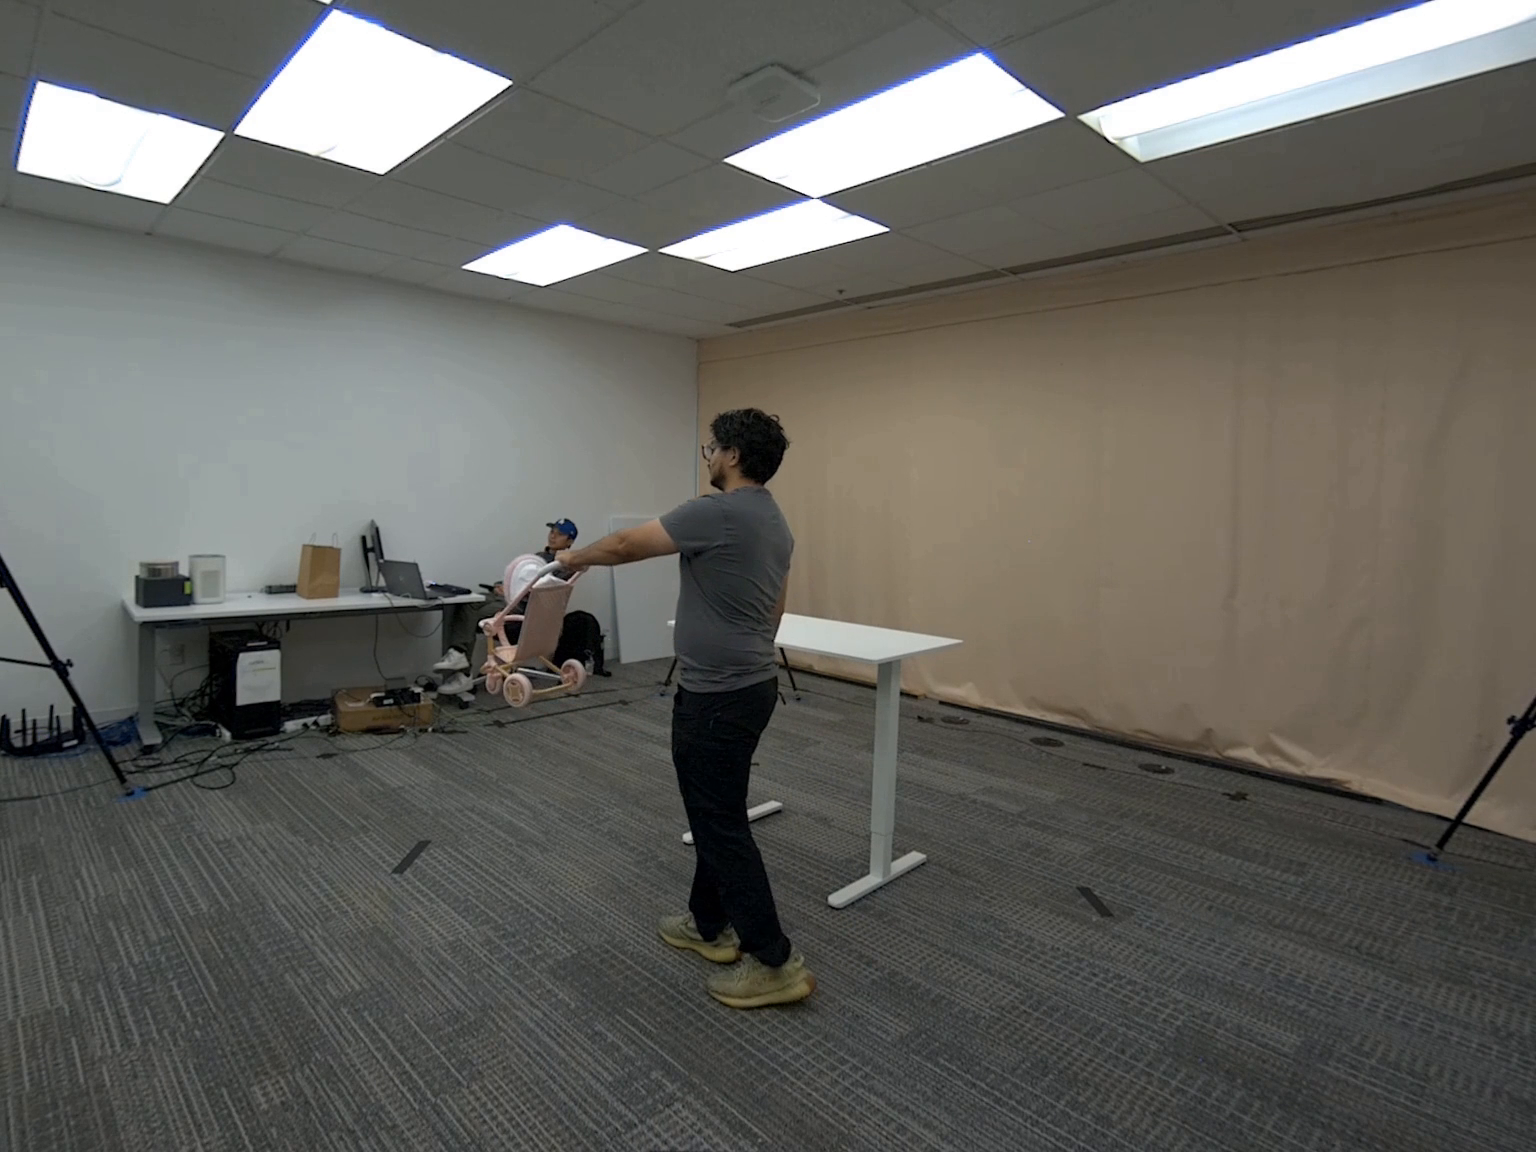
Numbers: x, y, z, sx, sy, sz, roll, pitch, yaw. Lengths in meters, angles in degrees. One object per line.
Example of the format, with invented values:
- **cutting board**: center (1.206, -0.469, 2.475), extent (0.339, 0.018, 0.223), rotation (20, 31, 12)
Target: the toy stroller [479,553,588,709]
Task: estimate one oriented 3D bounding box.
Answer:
- **toy stroller**: center (-0.785, 0.171, 2.752), extent (0.350, 0.532, 0.275), rotation (15, 12, 33)
